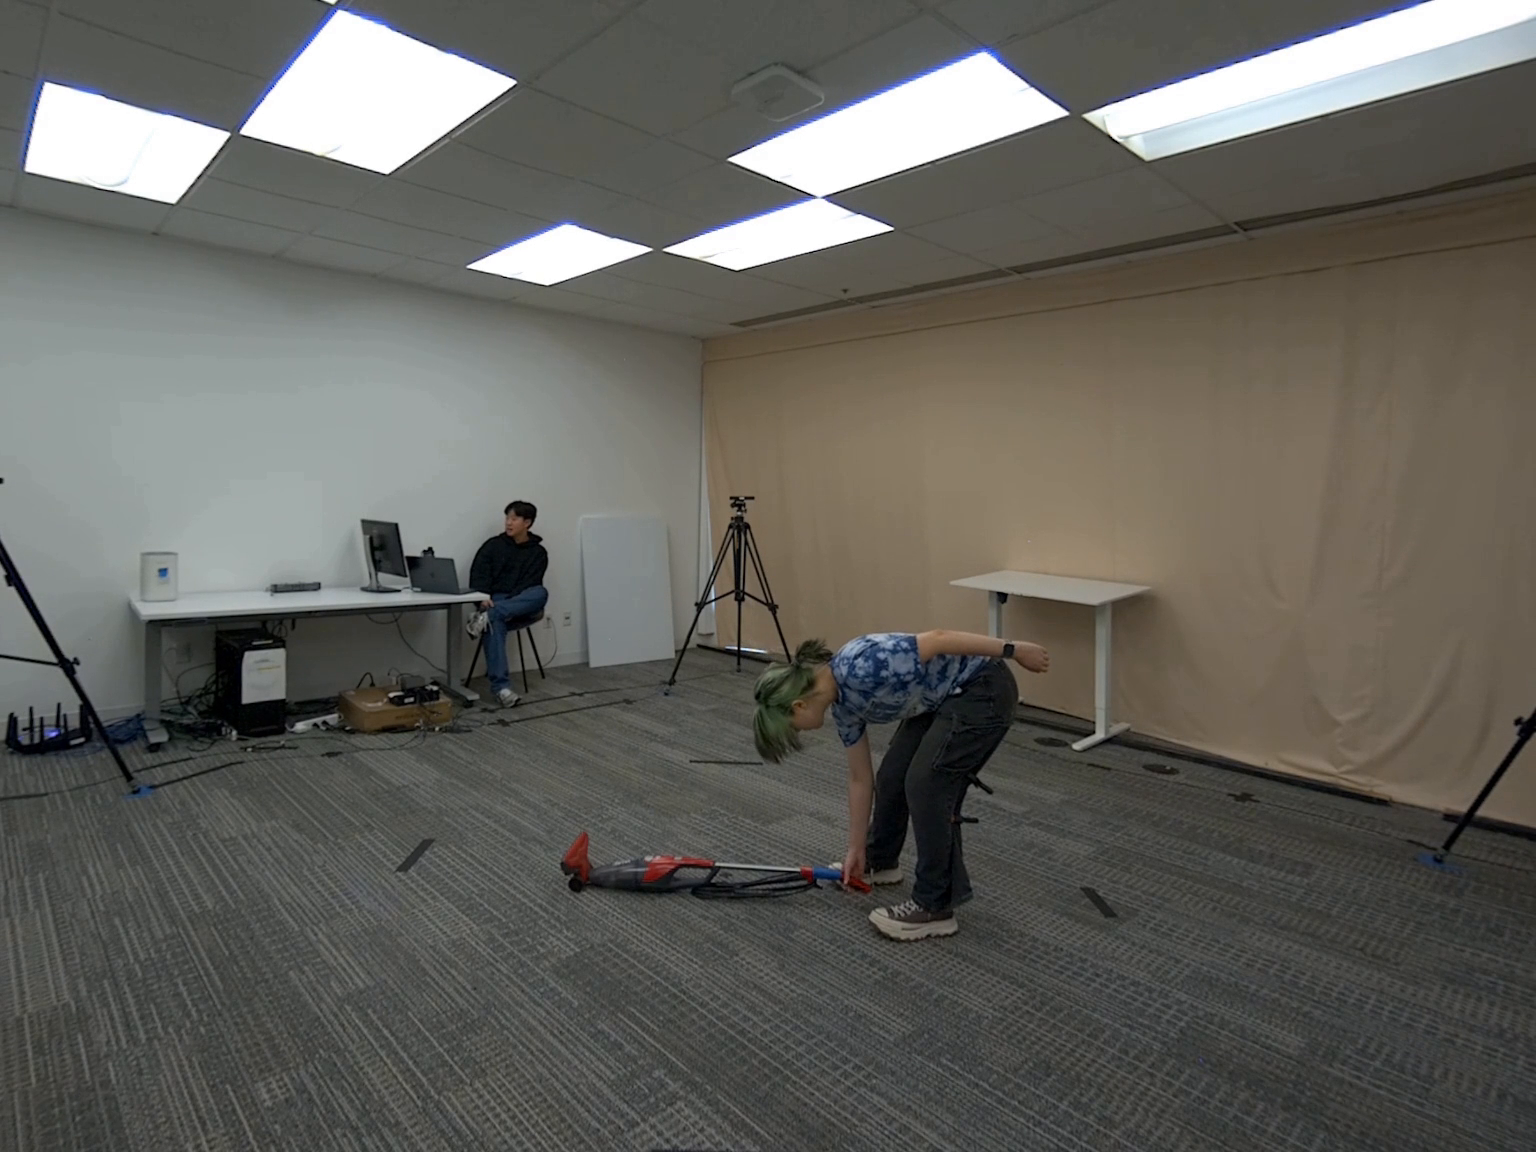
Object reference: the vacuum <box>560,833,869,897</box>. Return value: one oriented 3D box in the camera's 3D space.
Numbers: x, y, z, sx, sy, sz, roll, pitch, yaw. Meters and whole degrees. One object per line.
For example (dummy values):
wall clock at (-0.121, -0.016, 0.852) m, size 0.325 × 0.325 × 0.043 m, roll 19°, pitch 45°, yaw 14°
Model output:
vacuum at (-0.177, 1.043, 2.942) m, size 1.055 × 0.143 × 0.252 m, roll 3°, pitch 4°, yaw 6°
